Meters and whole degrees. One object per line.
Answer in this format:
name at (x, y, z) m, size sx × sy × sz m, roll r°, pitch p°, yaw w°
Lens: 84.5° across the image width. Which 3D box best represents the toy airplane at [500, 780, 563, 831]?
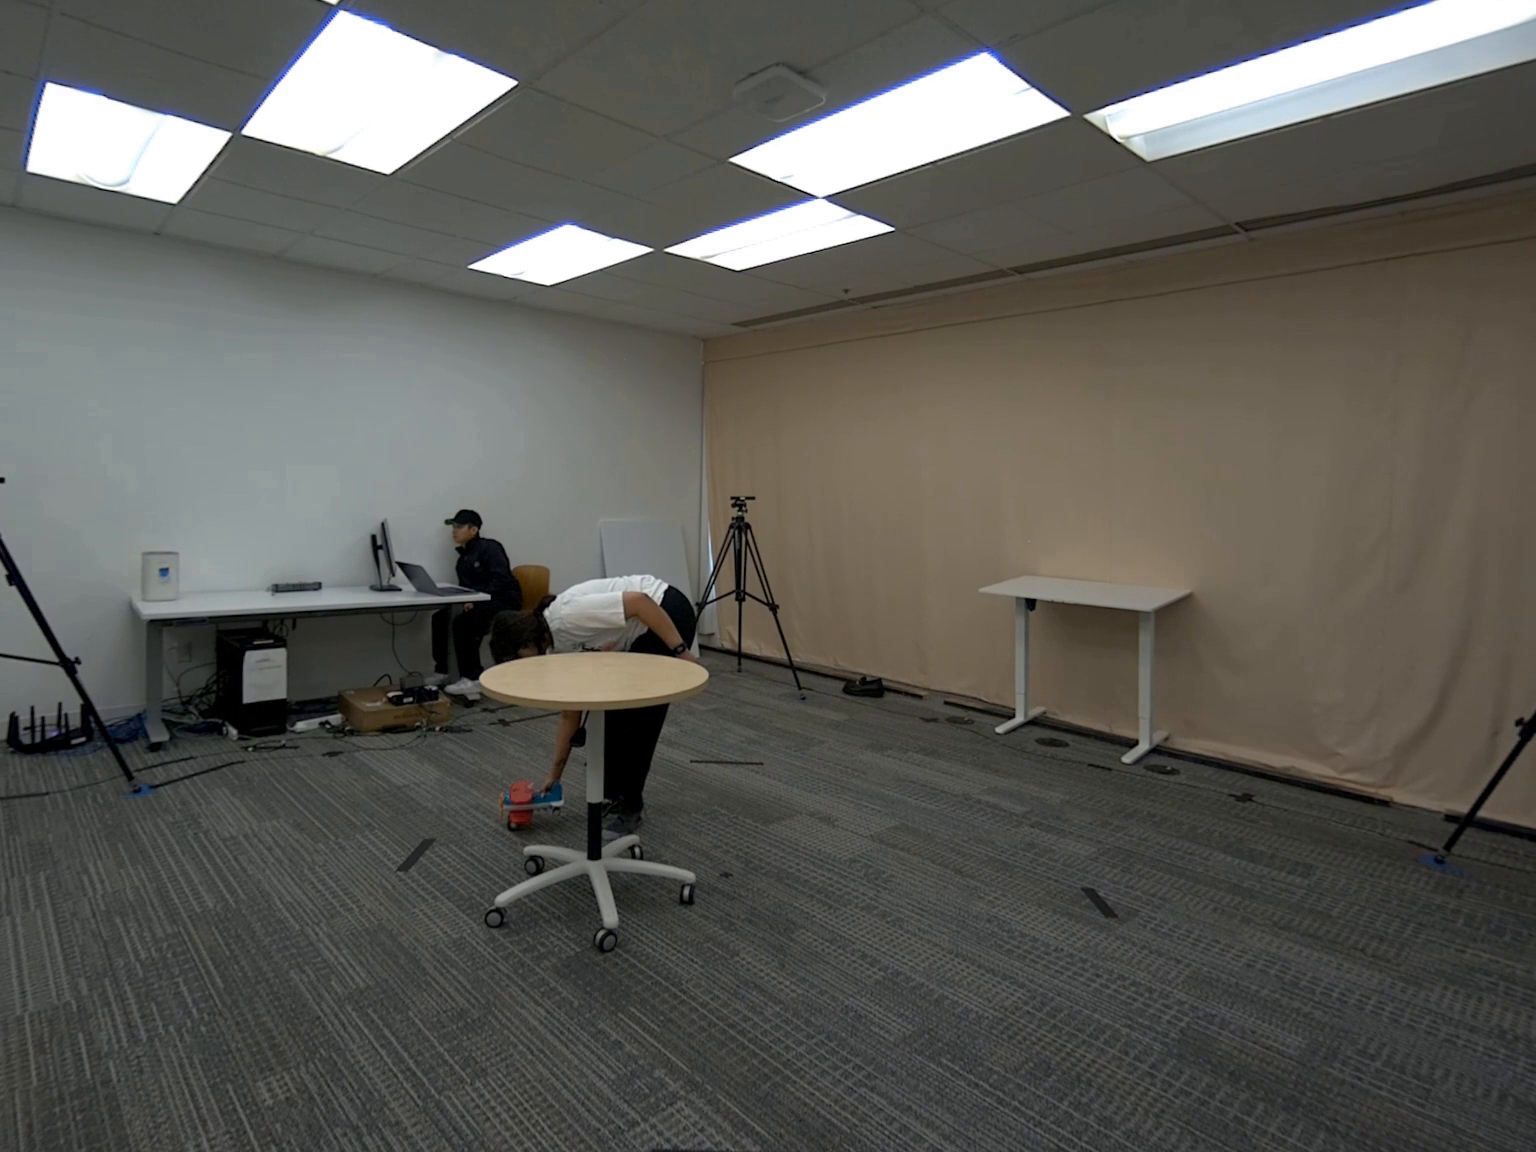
toy airplane at (-1.012, 0.957, 3.542) m, size 0.255 × 0.155 × 0.256 m, roll -18°, pitch 9°, yaw -40°
